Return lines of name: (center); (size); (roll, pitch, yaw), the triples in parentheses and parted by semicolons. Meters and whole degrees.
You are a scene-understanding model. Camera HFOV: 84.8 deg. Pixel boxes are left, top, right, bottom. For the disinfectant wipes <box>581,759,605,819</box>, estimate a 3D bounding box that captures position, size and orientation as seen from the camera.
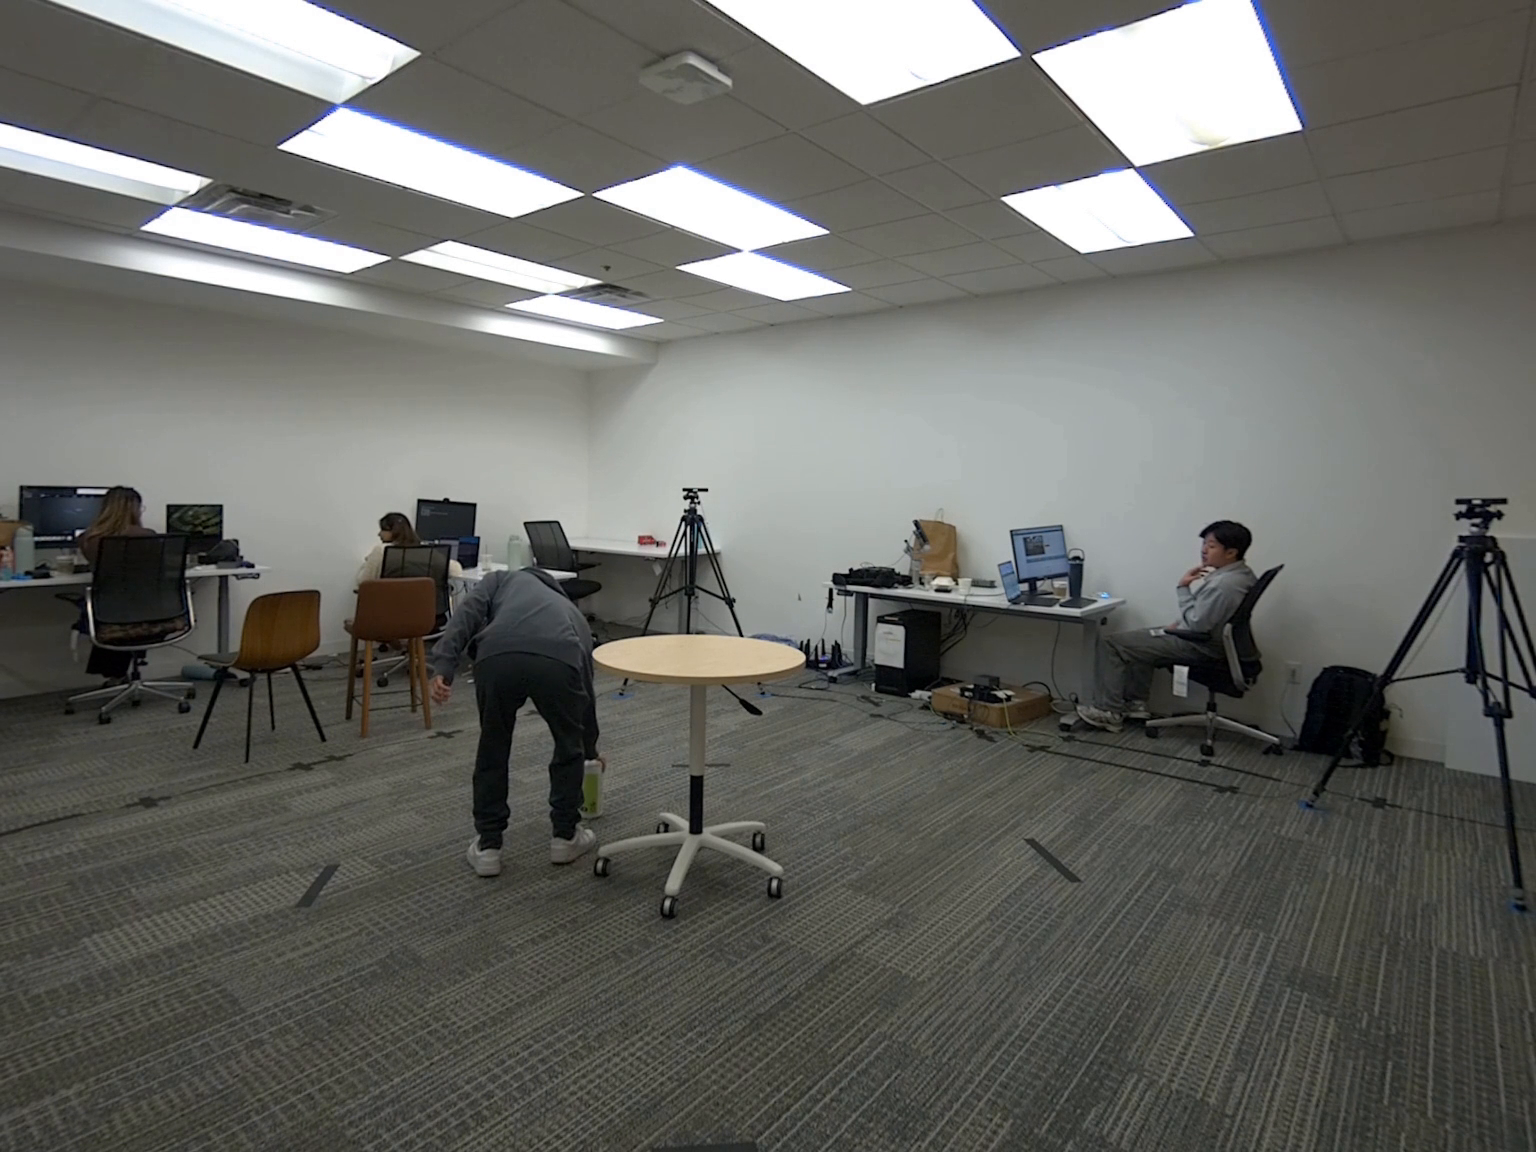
disinfectant wipes: (-0.766, 0.900, 3.636); (0.118, 0.217, 0.118); (1, 2, -2)
